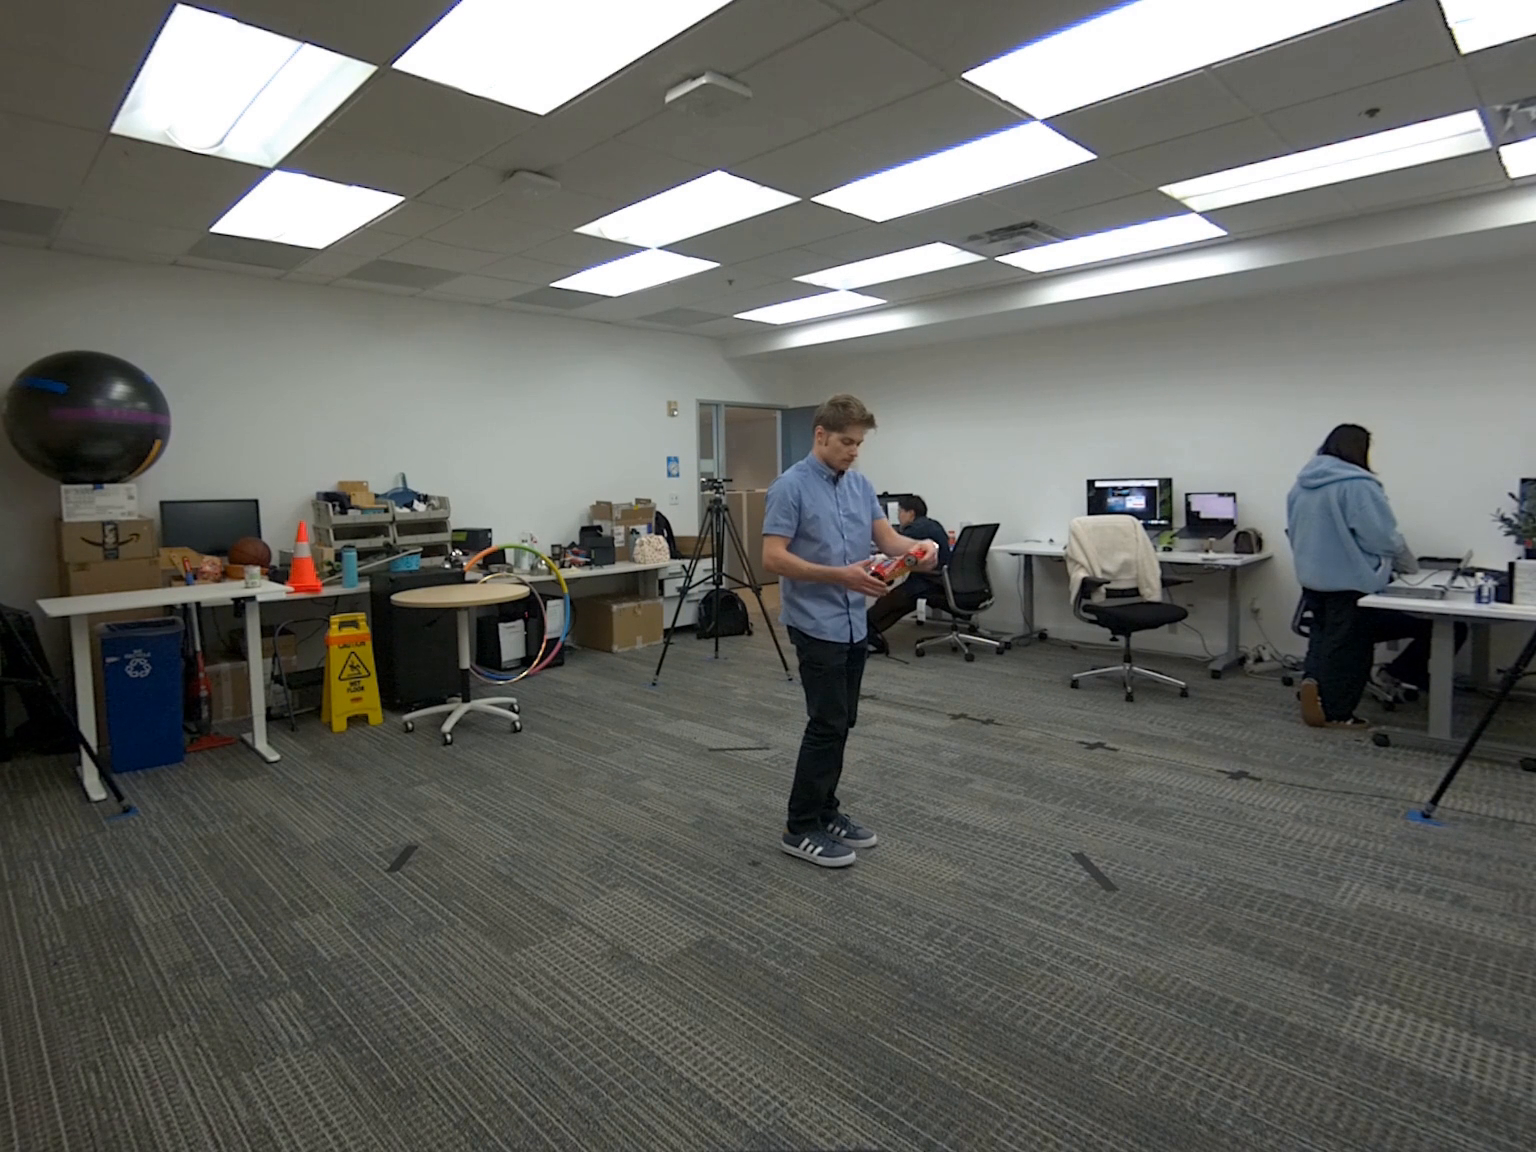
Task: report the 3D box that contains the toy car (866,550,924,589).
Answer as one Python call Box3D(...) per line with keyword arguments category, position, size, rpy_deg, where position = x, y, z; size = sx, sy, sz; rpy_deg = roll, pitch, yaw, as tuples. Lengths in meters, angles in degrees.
Box3D(category="toy car", position=(0.423, -0.013, 3.027), size=(0.259, 0.084, 0.126), rpy_deg=(-20, -12, 34))
